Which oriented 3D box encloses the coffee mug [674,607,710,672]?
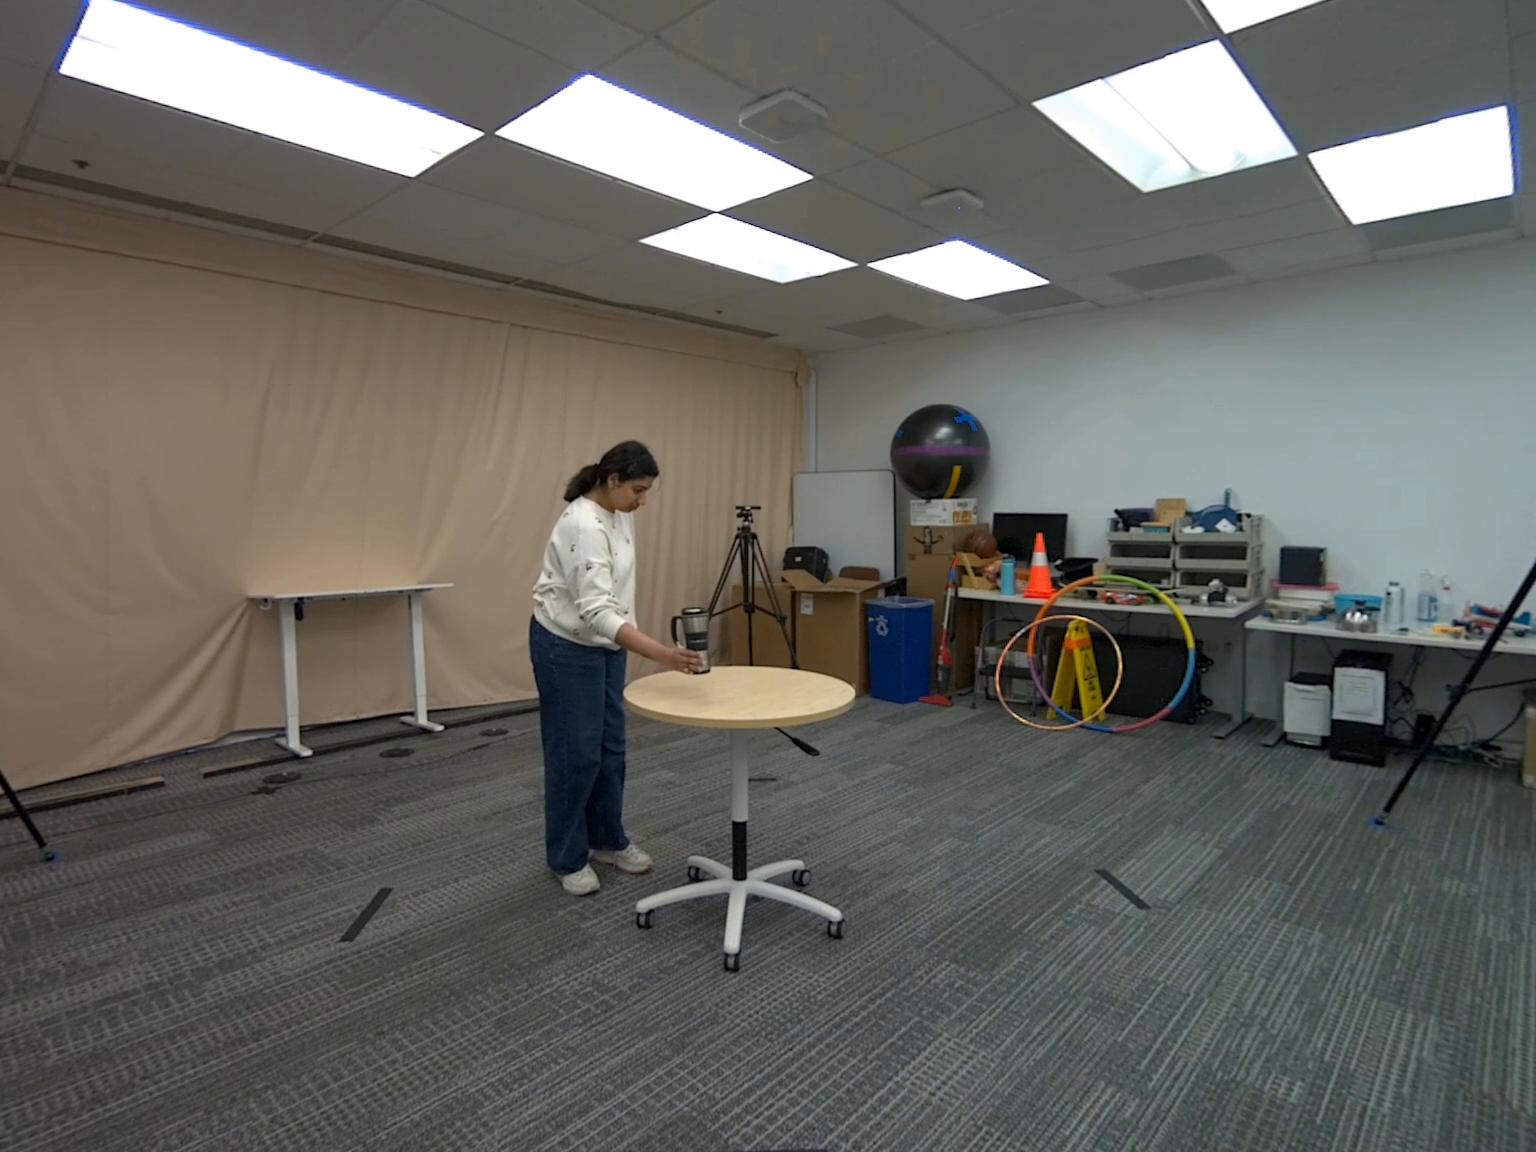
[{"bbox_3d":[-0.209,0.205,2.632,0.085,0.204,0.125,-2,-6,-35],"label":"coffee mug"}]
